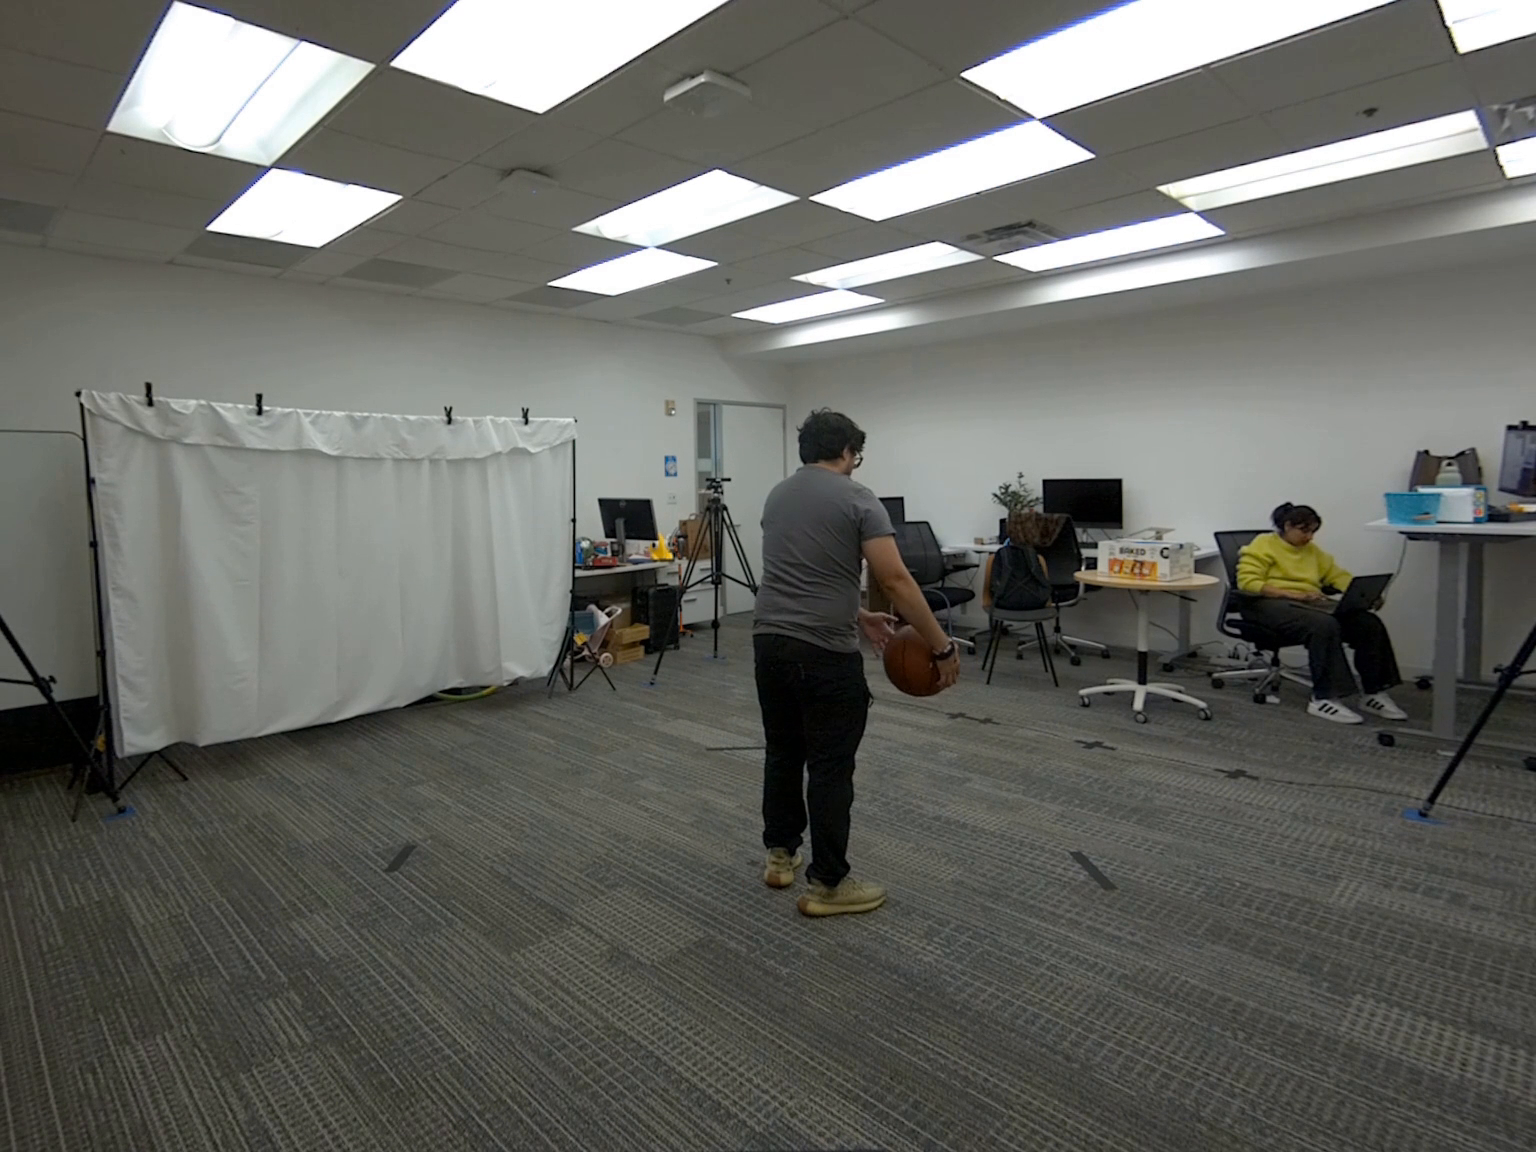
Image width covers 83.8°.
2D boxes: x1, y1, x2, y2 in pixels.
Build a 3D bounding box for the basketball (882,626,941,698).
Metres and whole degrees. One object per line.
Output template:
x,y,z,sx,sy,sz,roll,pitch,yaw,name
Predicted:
0.495,0.272,2.808,0.236,0.235,0.237,-1,5,-2,basketball
